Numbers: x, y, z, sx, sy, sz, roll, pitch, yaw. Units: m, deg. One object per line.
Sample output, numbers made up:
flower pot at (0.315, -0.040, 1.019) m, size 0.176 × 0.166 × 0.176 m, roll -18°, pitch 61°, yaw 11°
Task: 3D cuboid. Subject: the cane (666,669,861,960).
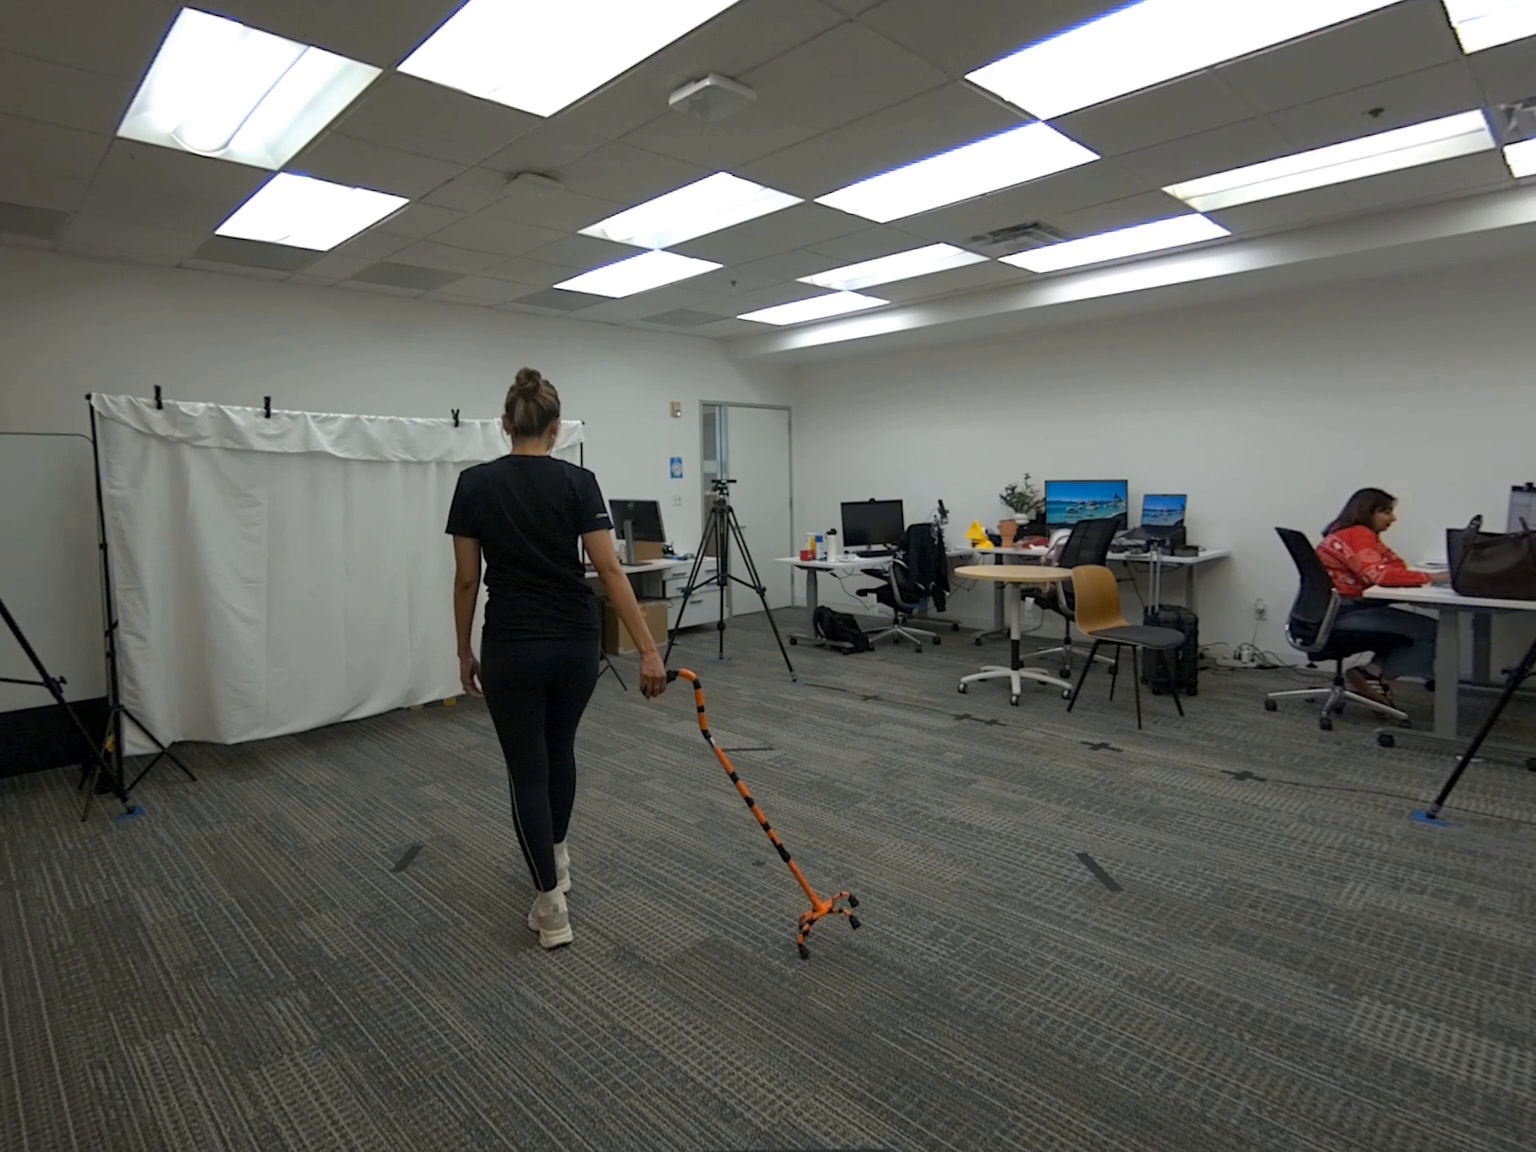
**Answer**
cane at (-0.049, 0.676, 2.549) m, size 0.207 × 0.908 × 0.151 m, roll -32°, pitch 0°, yaw 8°
